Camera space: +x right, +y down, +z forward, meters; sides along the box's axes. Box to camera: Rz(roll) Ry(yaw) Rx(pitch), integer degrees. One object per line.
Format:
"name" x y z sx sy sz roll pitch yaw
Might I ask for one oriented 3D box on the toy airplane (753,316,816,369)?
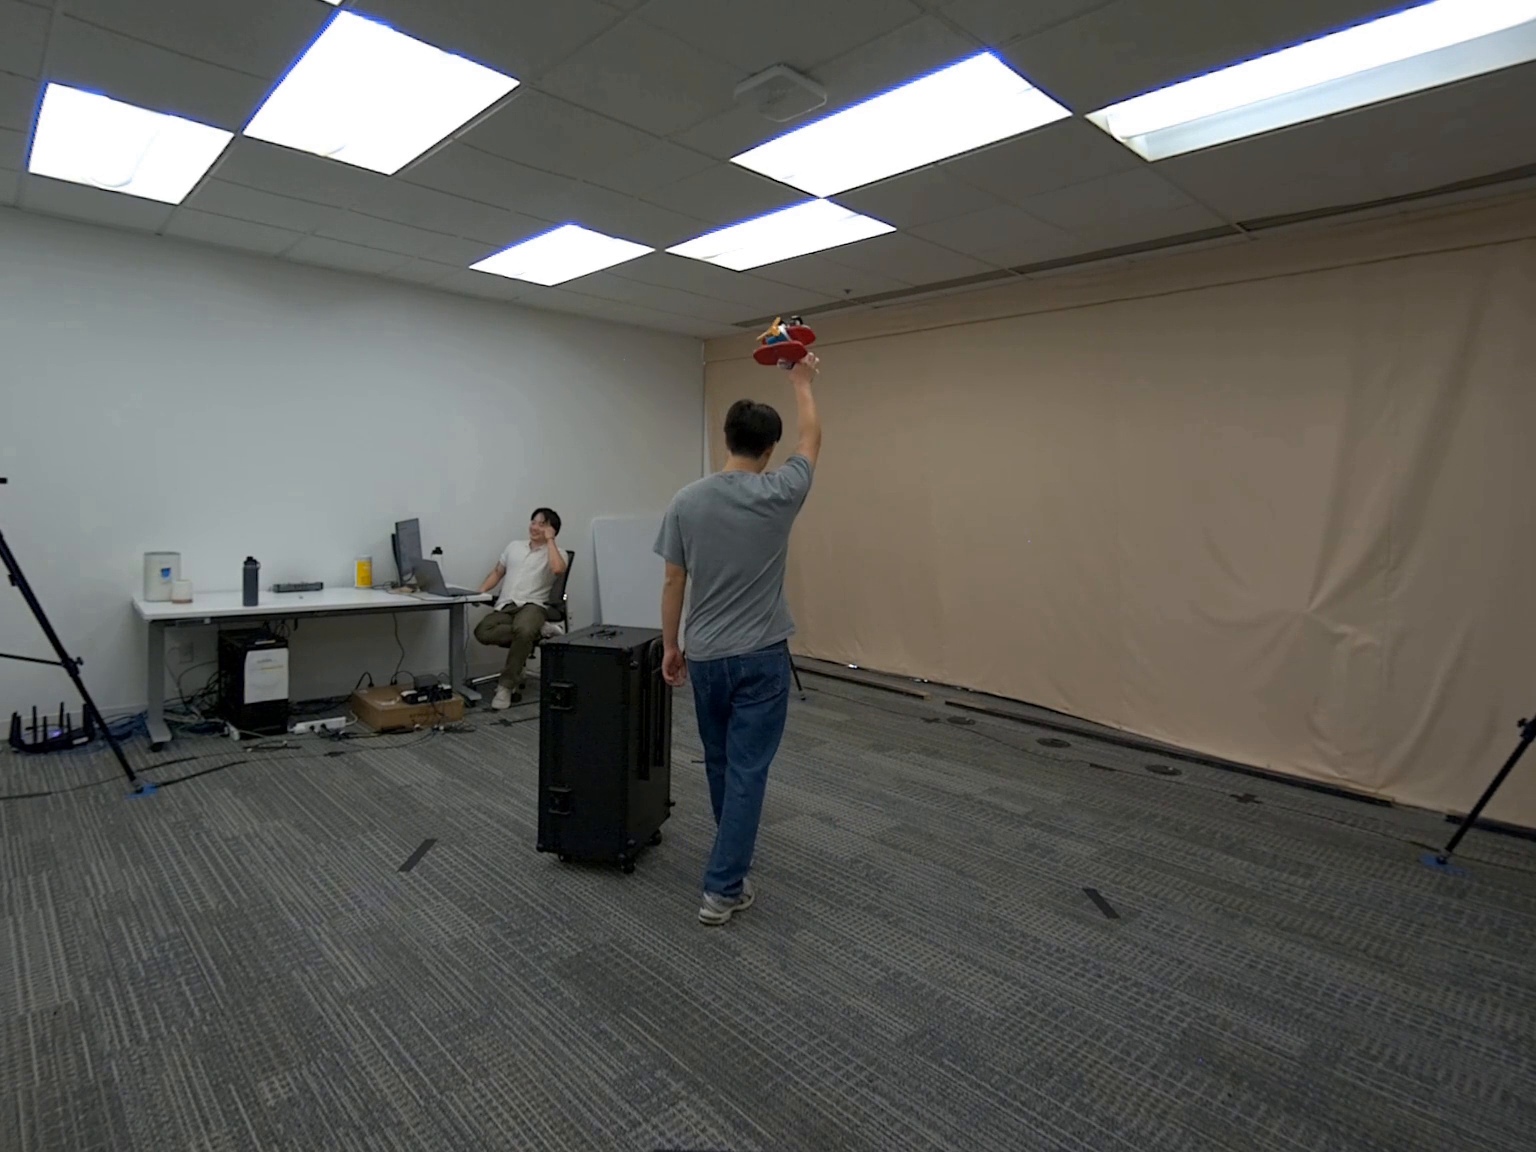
"toy airplane" 0.091 -0.849 3.189 0.156 0.259 0.251 -48 3 -30
